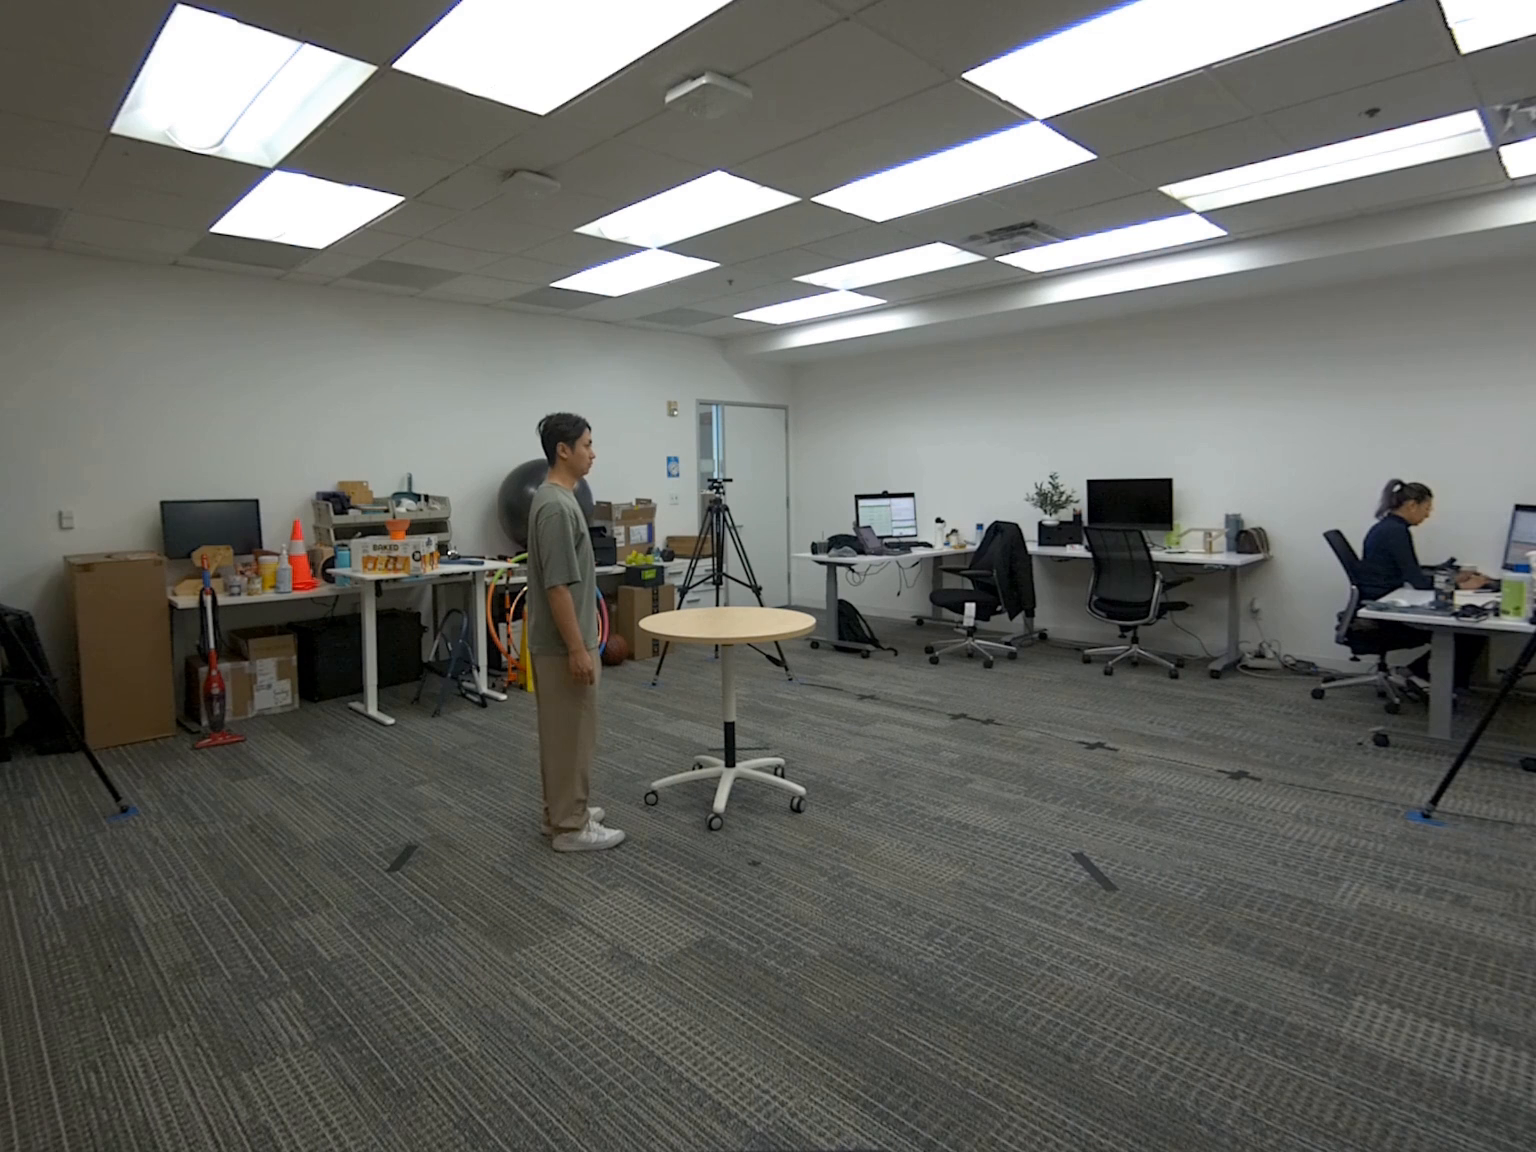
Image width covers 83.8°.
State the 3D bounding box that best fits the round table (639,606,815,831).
[{"bbox_3d":[-0.164,0.584,3.717,0.784,0.783,0.789,-1,5,-2],"label":"round table"}]
